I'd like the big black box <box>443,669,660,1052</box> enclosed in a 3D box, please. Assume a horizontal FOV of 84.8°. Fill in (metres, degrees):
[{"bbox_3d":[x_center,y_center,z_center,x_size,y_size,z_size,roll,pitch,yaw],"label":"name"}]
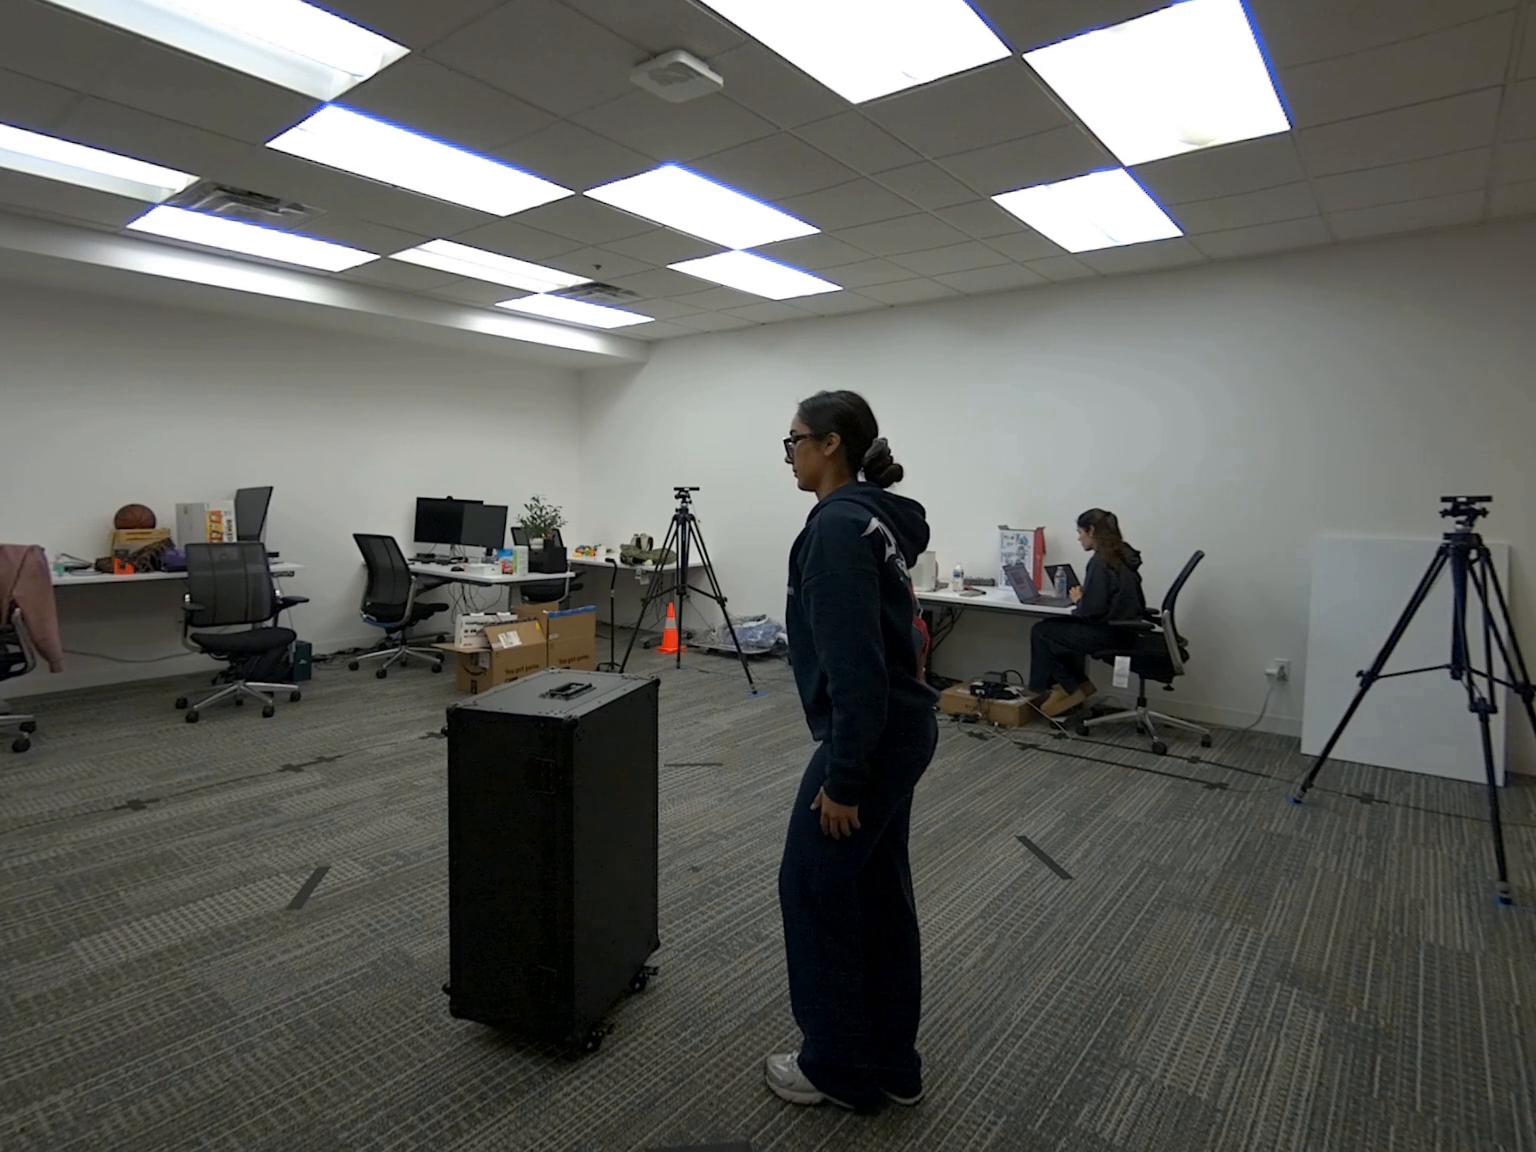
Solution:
[{"bbox_3d":[-0.570,0.722,2.254,0.404,0.859,0.512,0,3,19],"label":"big black box"}]
